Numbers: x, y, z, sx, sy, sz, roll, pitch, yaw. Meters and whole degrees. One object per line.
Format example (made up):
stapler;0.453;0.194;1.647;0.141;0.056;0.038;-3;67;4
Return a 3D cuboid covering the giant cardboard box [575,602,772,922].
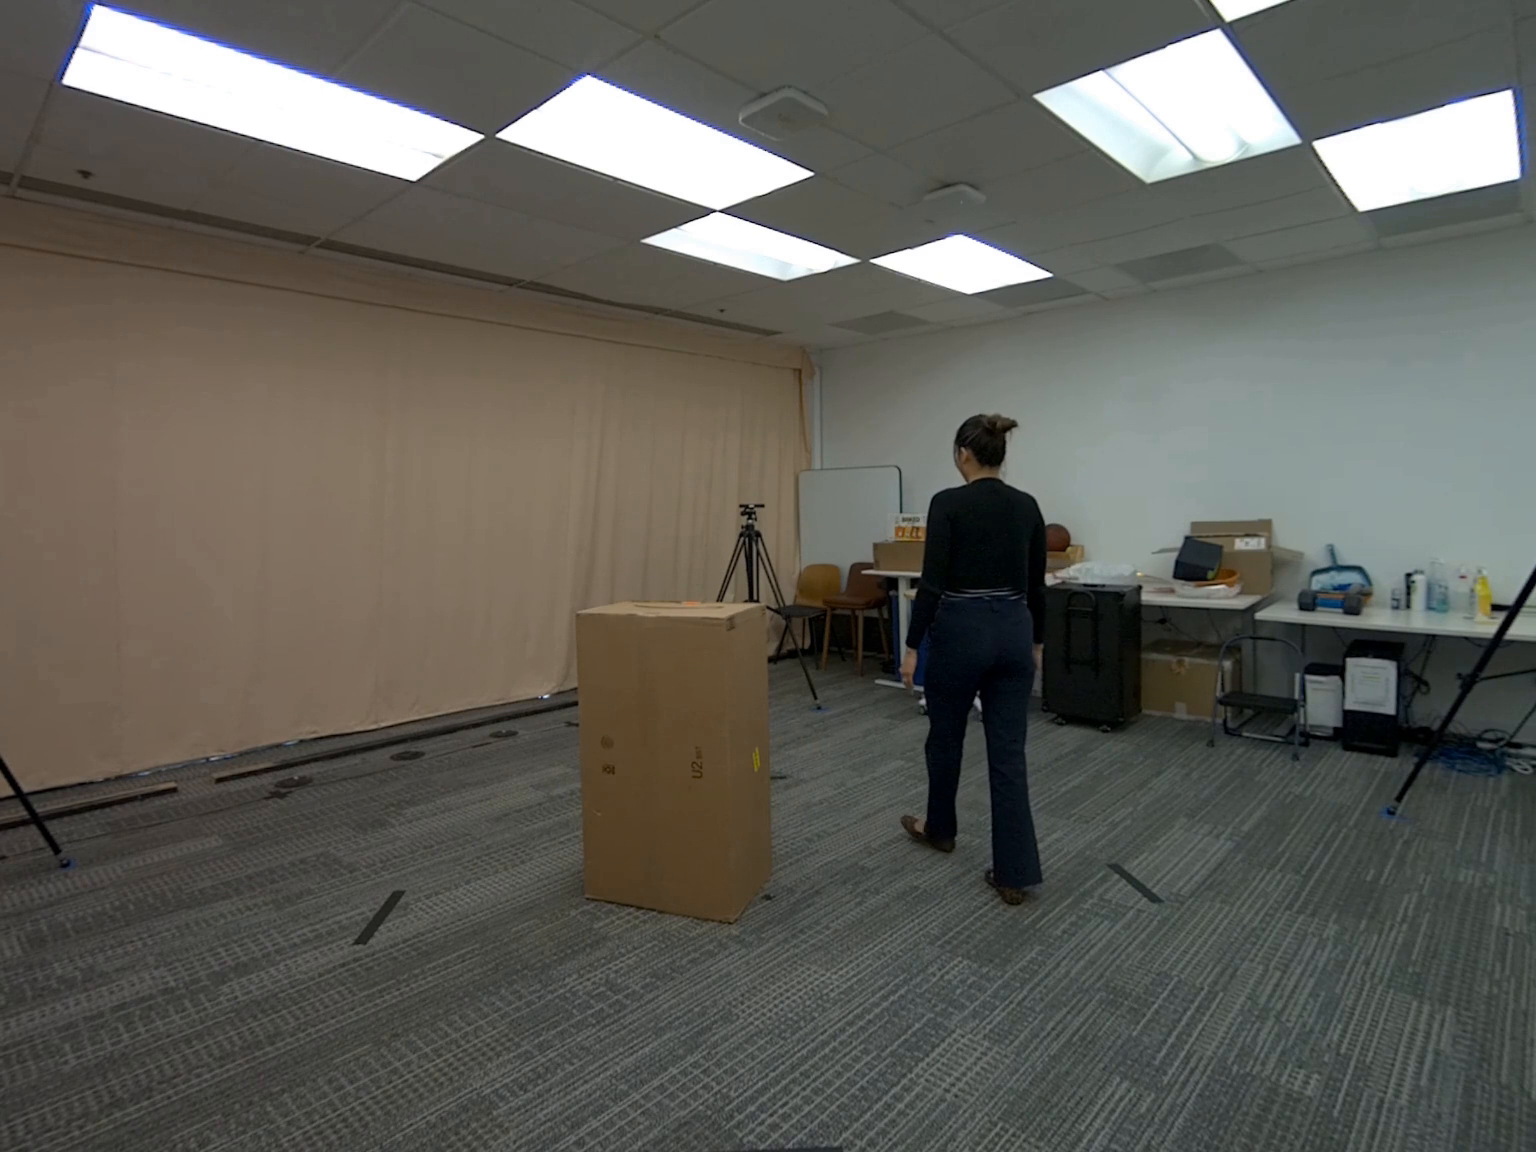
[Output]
giant cardboard box;-0.328;0.629;3.076;0.591;1.024;0.417;0;2;22
